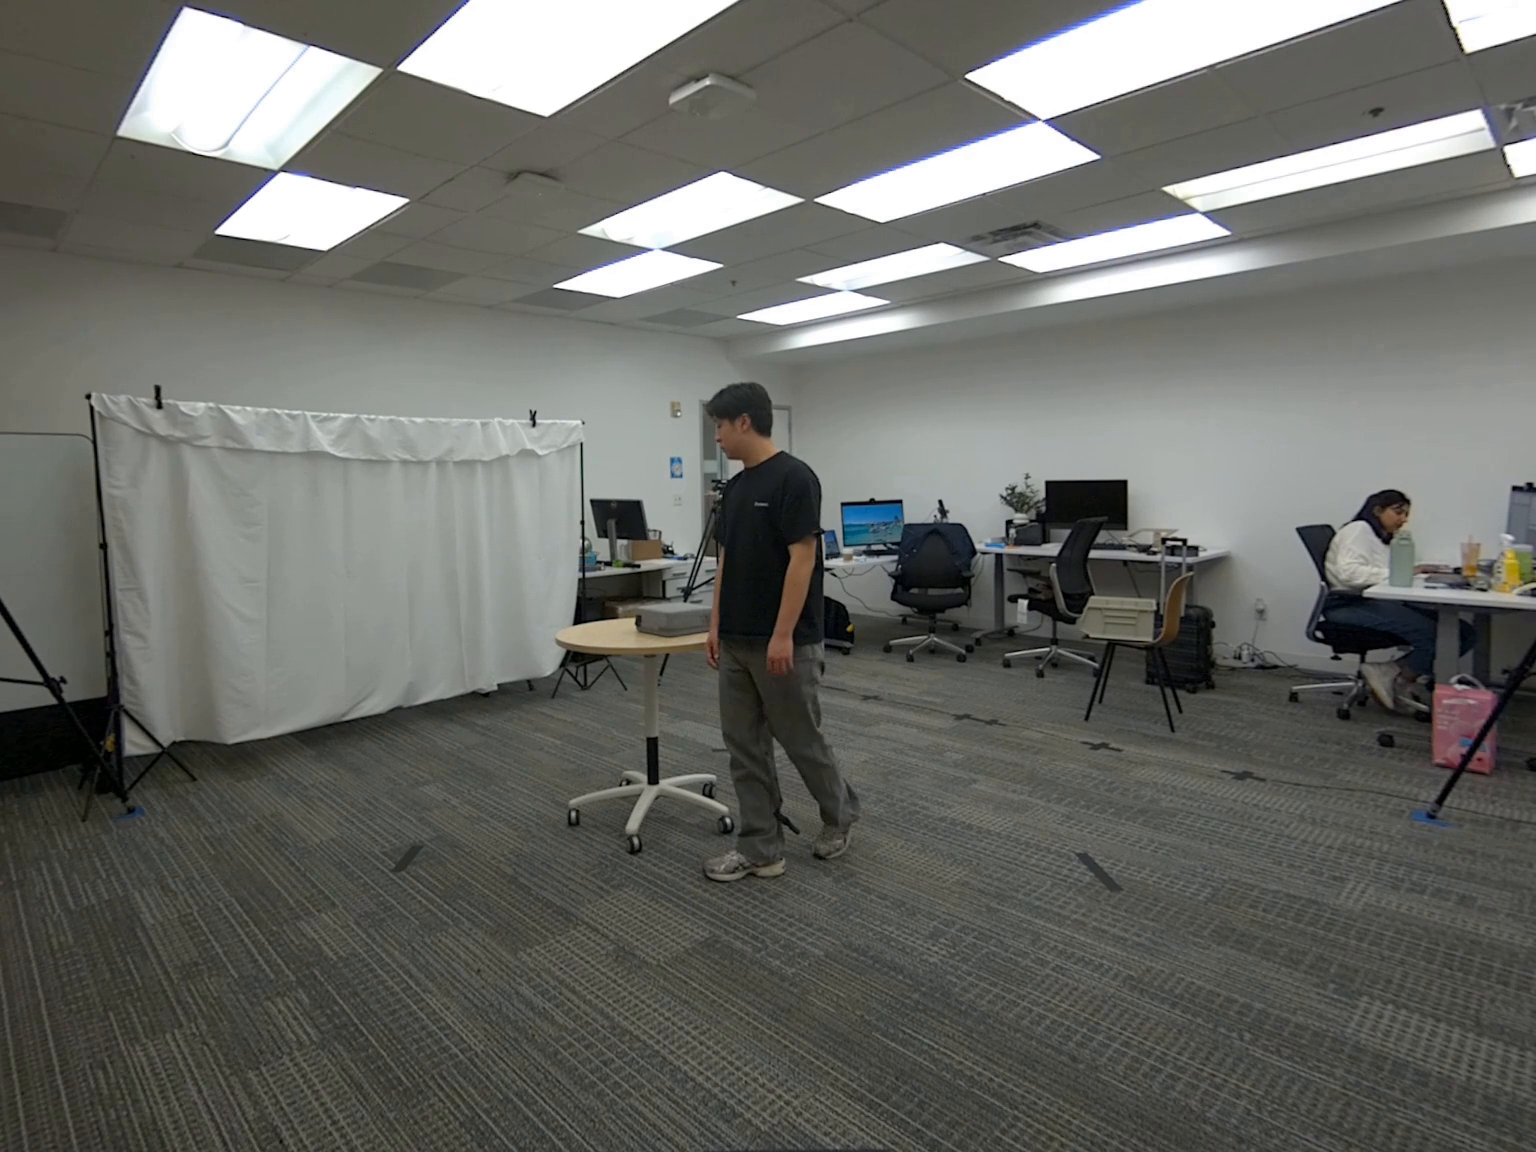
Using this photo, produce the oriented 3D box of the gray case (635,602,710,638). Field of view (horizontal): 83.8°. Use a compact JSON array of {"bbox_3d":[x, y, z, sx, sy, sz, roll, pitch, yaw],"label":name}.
[{"bbox_3d":[-0.370,0.174,3.502,0.280,0.103,0.271,-7,6,-41],"label":"gray case"}]
